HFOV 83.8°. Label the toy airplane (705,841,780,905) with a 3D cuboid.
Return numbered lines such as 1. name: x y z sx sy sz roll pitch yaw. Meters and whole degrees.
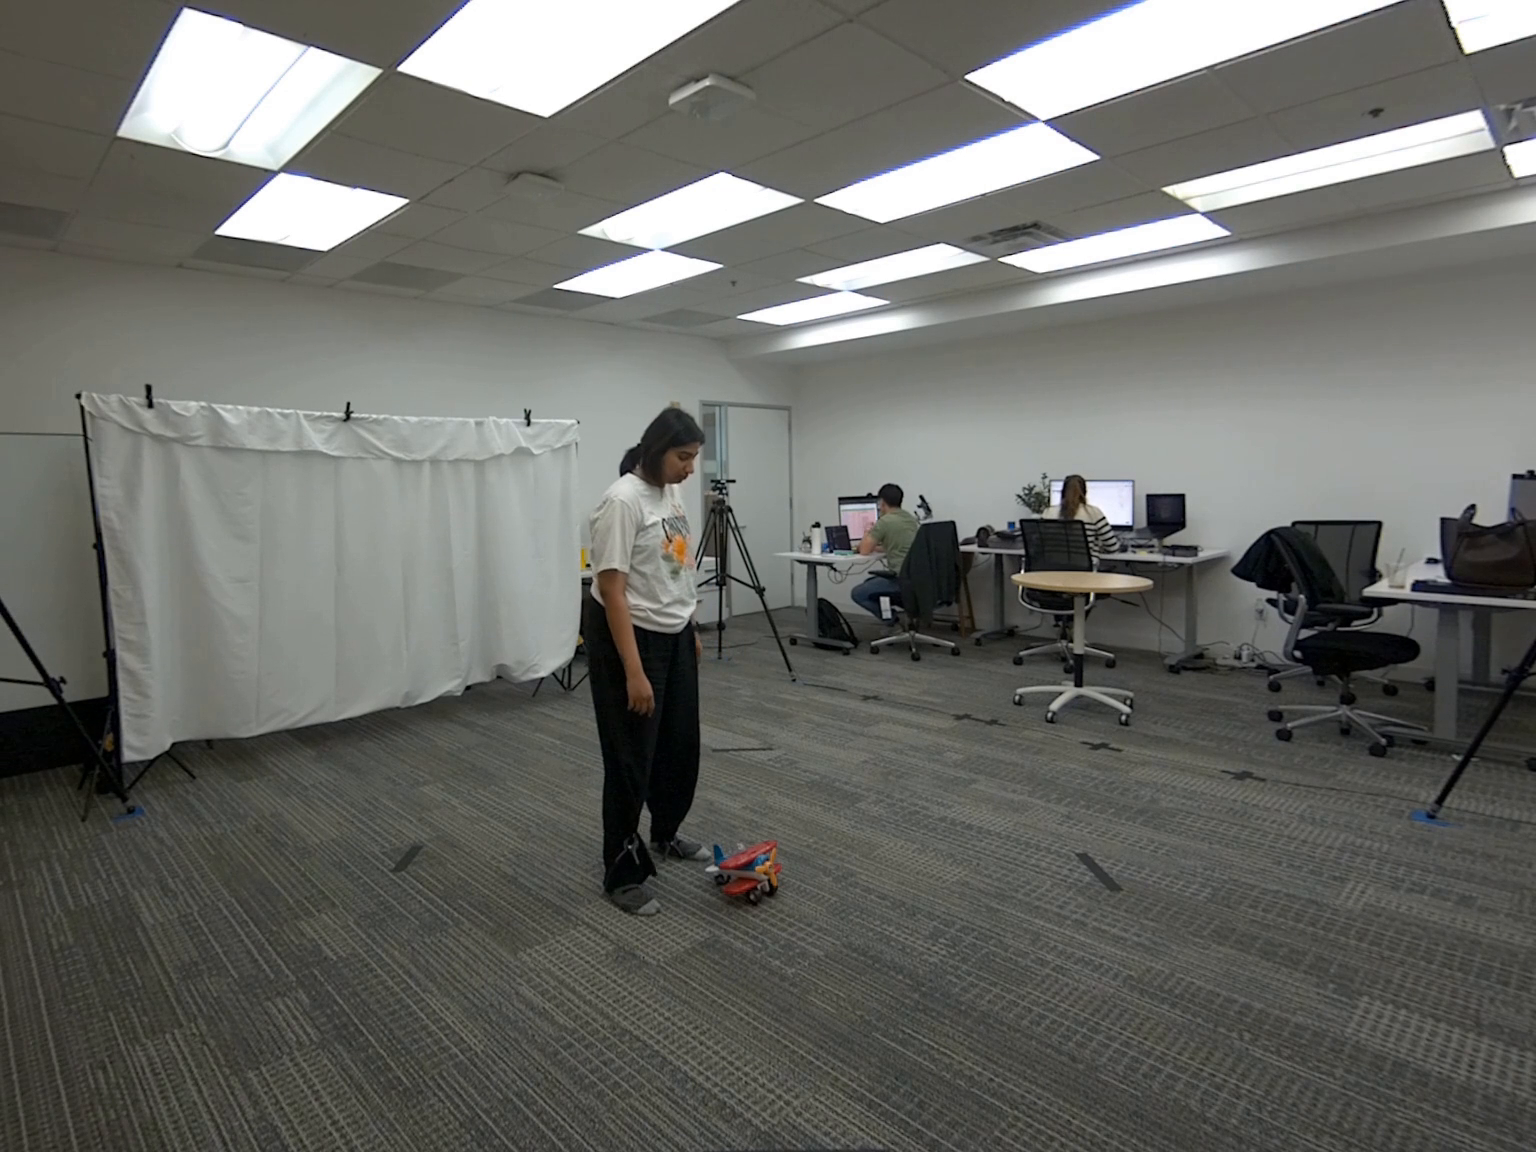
1. toy airplane: -0.095 0.995 2.882 0.263 0.155 0.249 1 7 13
